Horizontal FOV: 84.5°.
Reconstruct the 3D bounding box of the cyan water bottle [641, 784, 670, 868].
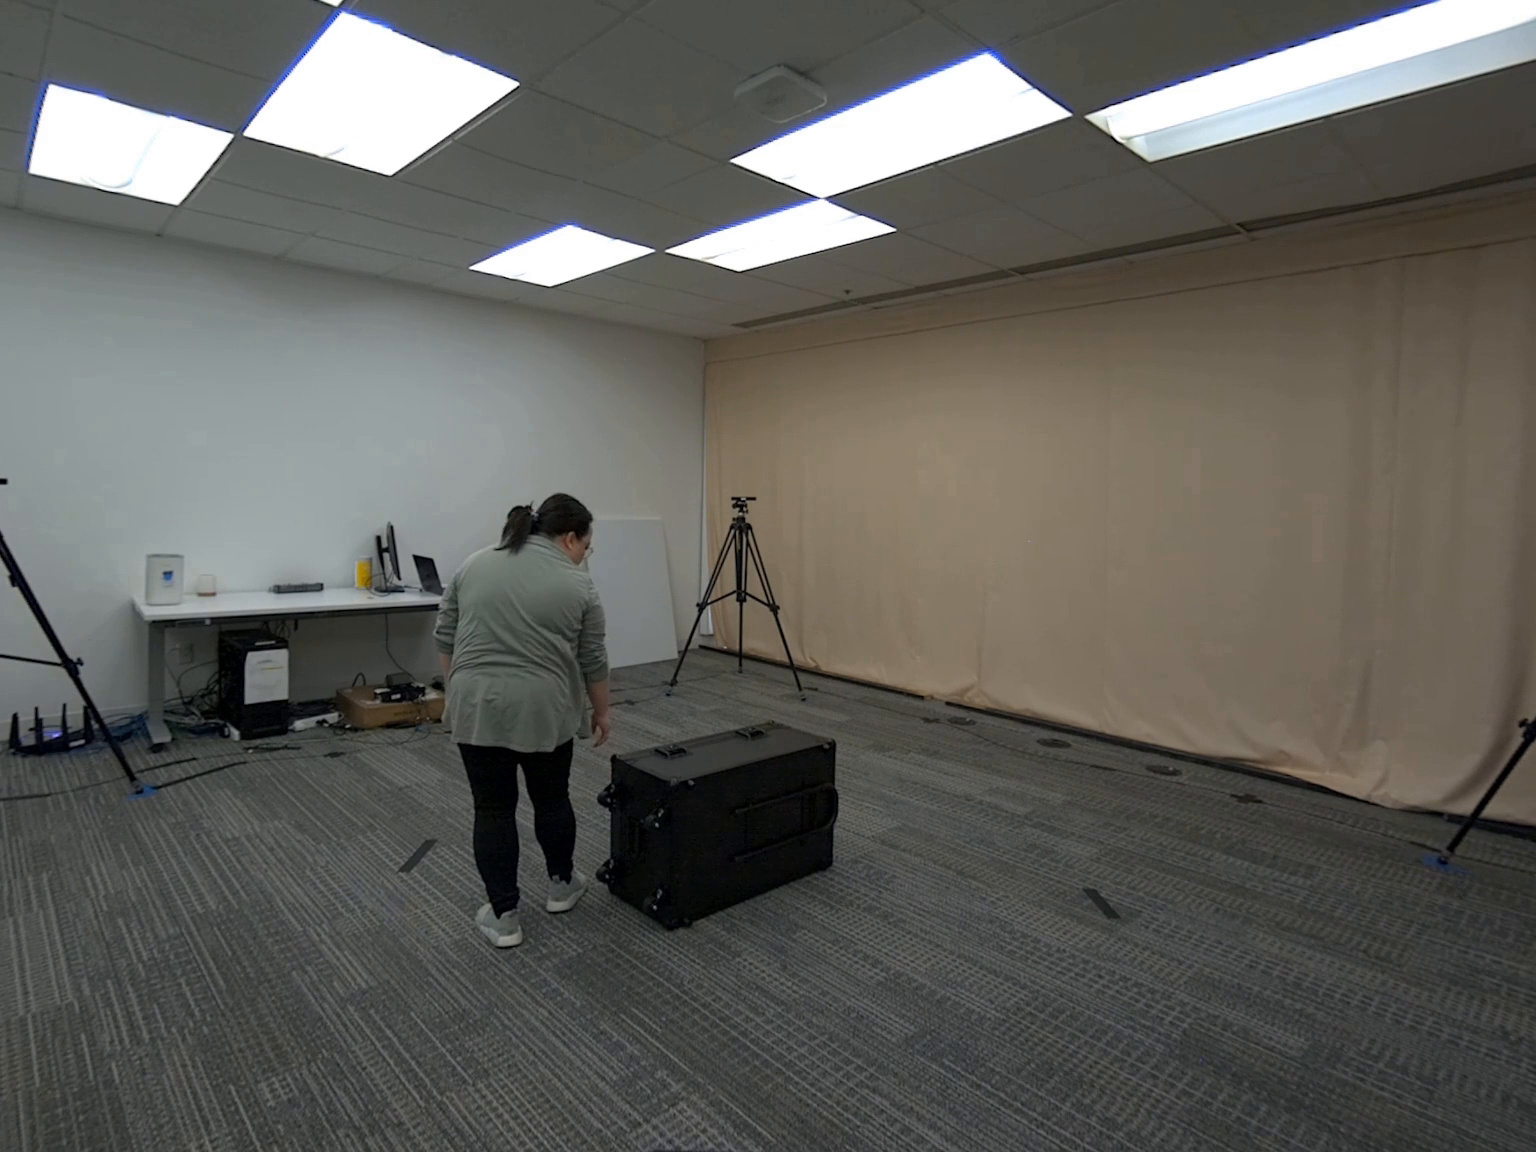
[{"bbox_3d":[-0.429,0.947,3.217,0.092,0.283,0.092,-1,3,-1],"label":"cyan water bottle"}]
